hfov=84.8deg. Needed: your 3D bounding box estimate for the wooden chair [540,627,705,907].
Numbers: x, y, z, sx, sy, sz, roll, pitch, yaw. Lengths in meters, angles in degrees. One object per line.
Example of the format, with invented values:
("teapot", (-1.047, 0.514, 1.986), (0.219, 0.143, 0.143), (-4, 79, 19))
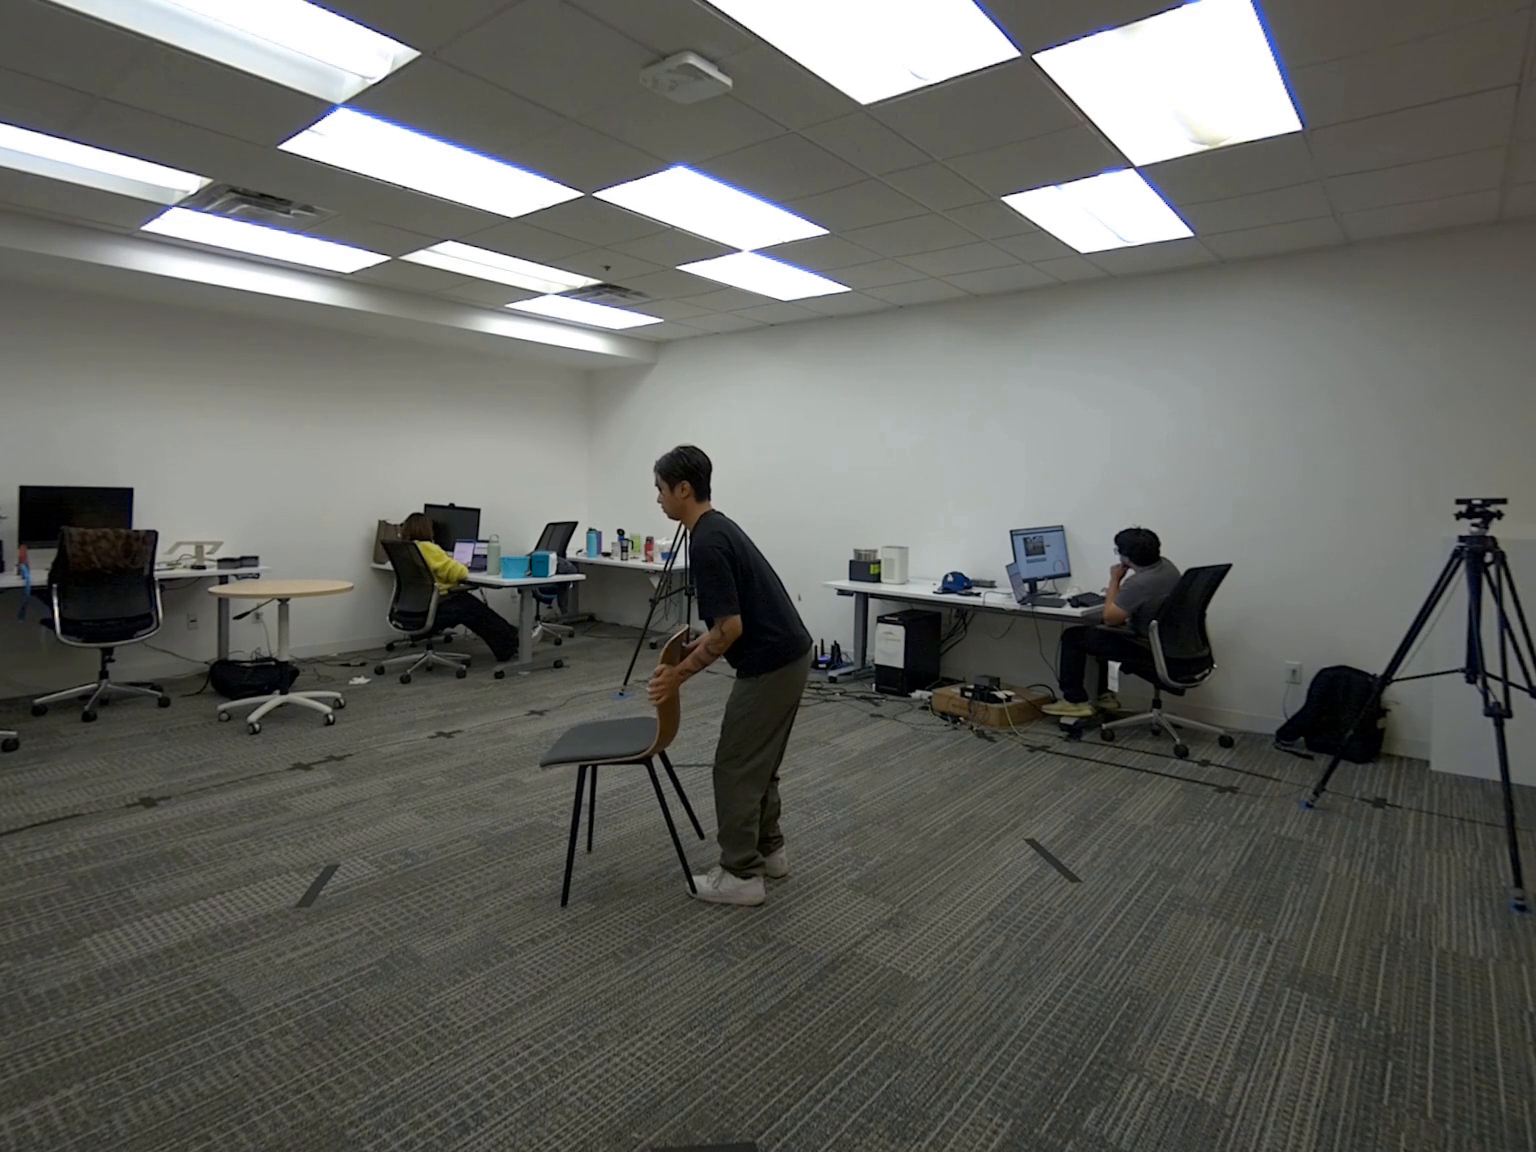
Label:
("wooden chair", (-0.534, 0.624, 2.998), (0.524, 0.874, 0.479), (-2, 4, 1))
